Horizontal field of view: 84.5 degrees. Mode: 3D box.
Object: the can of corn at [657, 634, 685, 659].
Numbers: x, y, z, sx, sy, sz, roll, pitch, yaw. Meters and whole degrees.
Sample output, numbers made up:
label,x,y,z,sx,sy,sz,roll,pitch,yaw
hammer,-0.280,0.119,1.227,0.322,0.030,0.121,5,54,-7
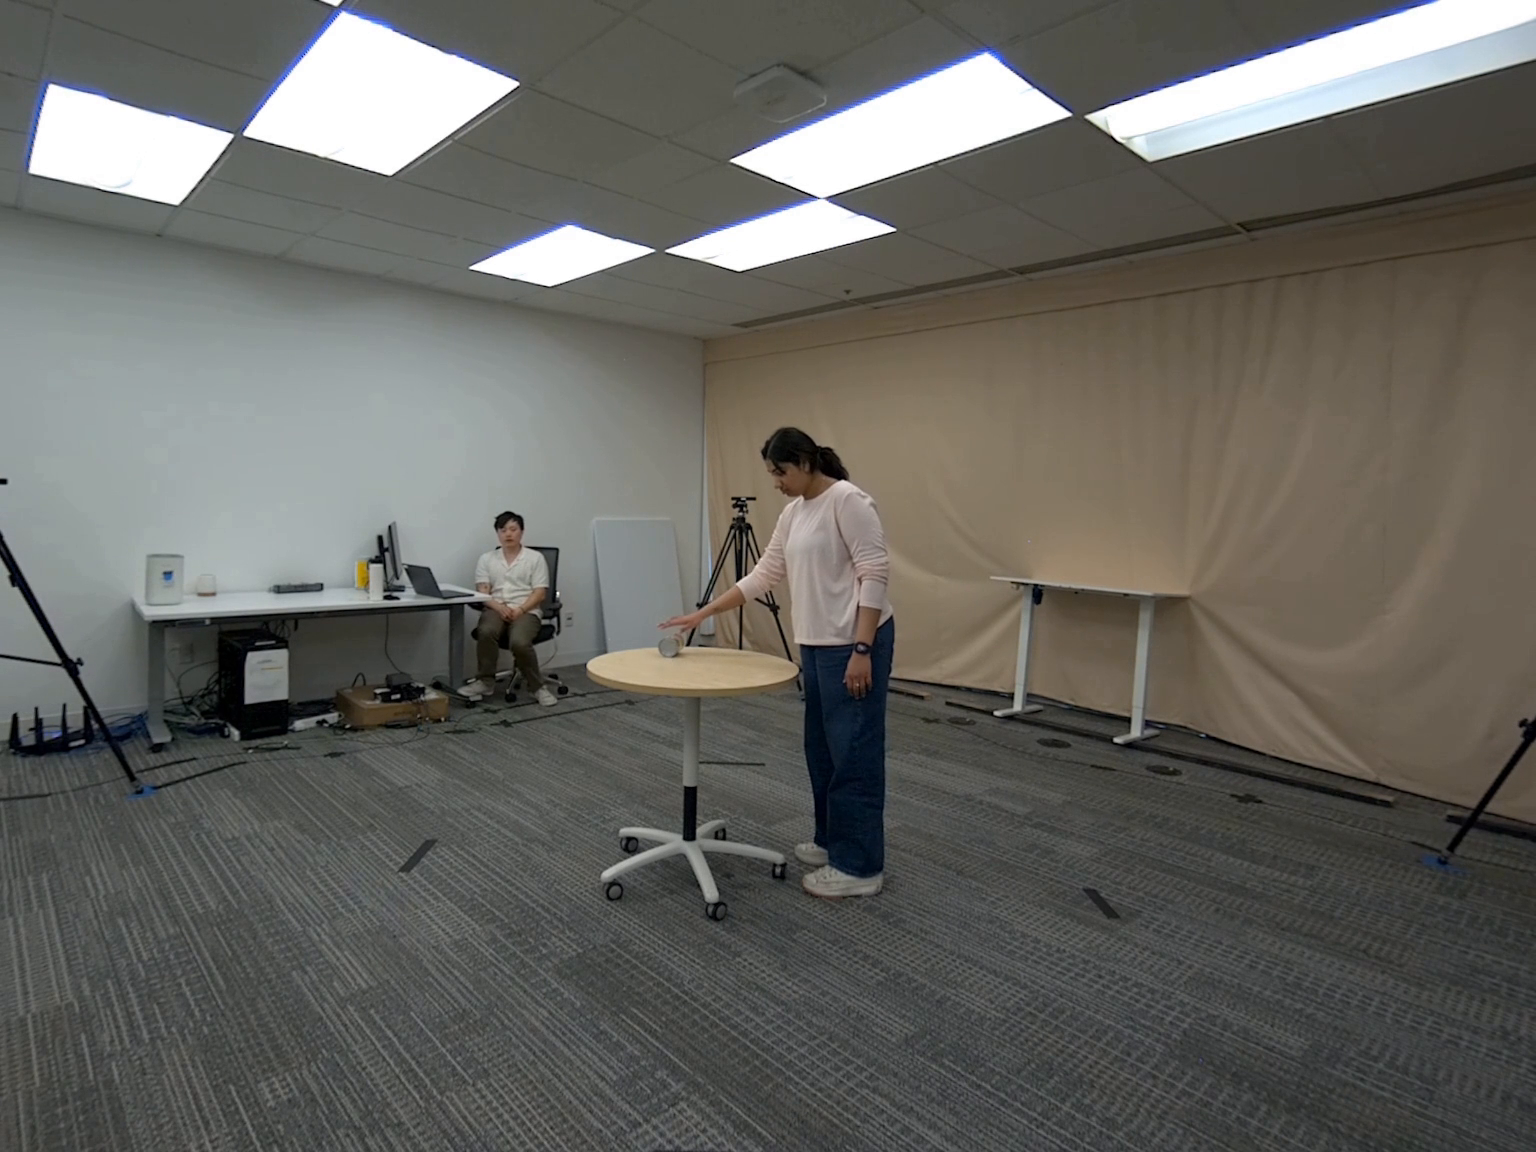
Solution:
label,x,y,z,sx,sy,sz,roll,pitch,yaw
can of corn,-0.369,0.262,3.249,0.074,0.074,0.111,2,6,5
